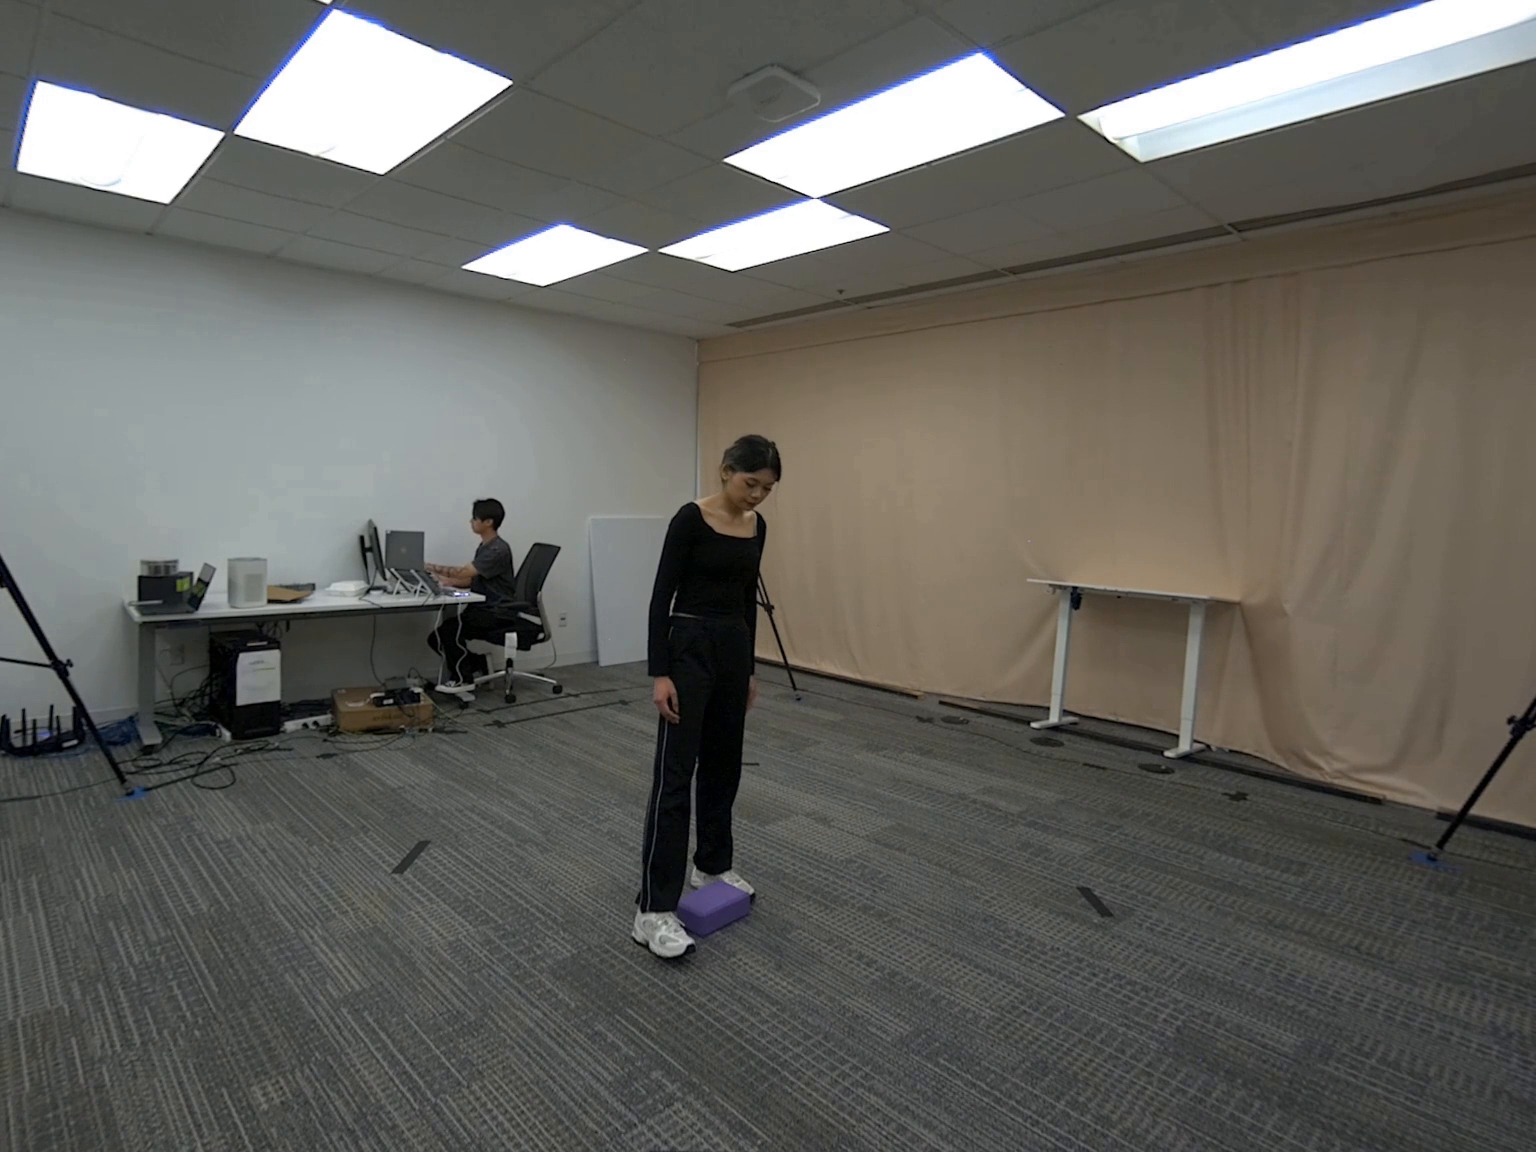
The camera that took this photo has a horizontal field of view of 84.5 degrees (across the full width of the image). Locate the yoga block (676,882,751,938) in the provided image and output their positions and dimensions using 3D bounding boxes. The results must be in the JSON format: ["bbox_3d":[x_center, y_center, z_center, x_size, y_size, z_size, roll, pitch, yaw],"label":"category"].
[{"bbox_3d":[-0.197,1.092,2.777,0.153,0.076,0.224,6,7,42],"label":"yoga block"}]
